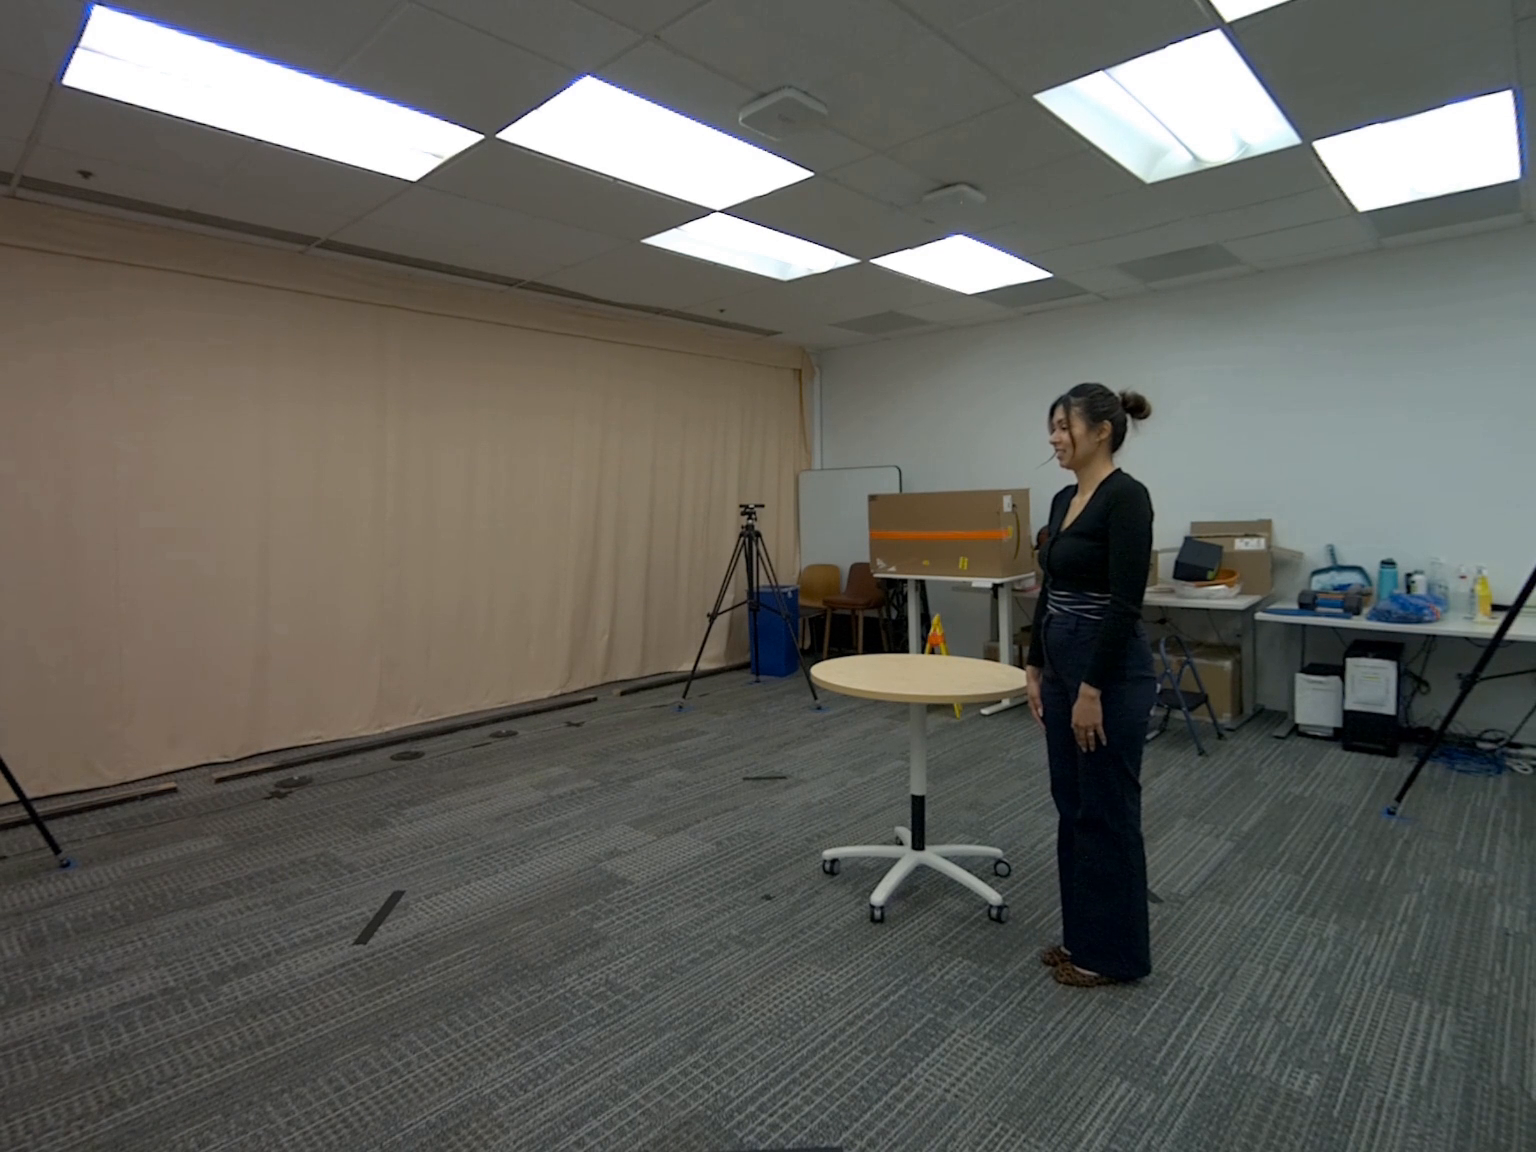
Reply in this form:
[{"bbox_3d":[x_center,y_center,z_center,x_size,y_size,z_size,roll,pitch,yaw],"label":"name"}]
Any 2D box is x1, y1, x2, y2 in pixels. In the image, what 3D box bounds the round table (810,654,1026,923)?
[{"bbox_3d":[0.543,0.737,3.023,0.763,0.792,0.766,0,3,-2],"label":"round table"}]
